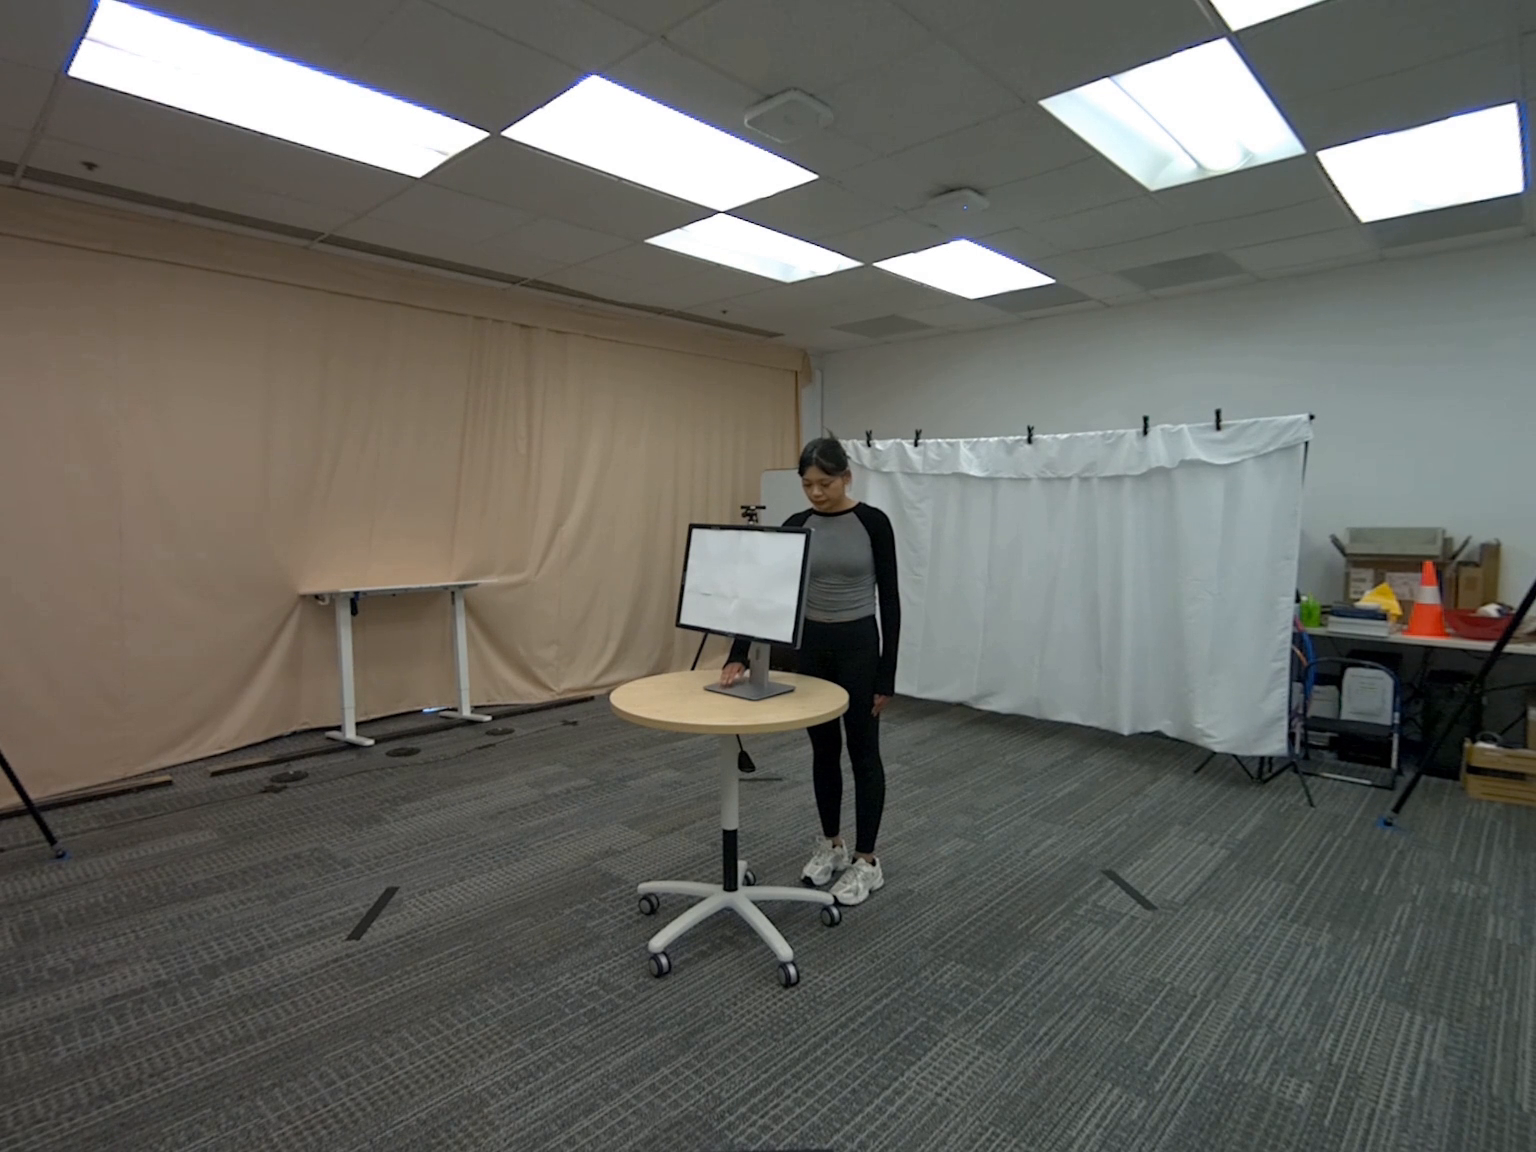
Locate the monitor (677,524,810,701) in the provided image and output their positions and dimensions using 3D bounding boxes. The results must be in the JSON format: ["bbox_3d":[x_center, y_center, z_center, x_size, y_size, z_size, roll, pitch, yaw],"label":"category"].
[{"bbox_3d":[-0.061,0.108,2.745,0.557,0.521,0.181,4,7,44],"label":"monitor"}]
